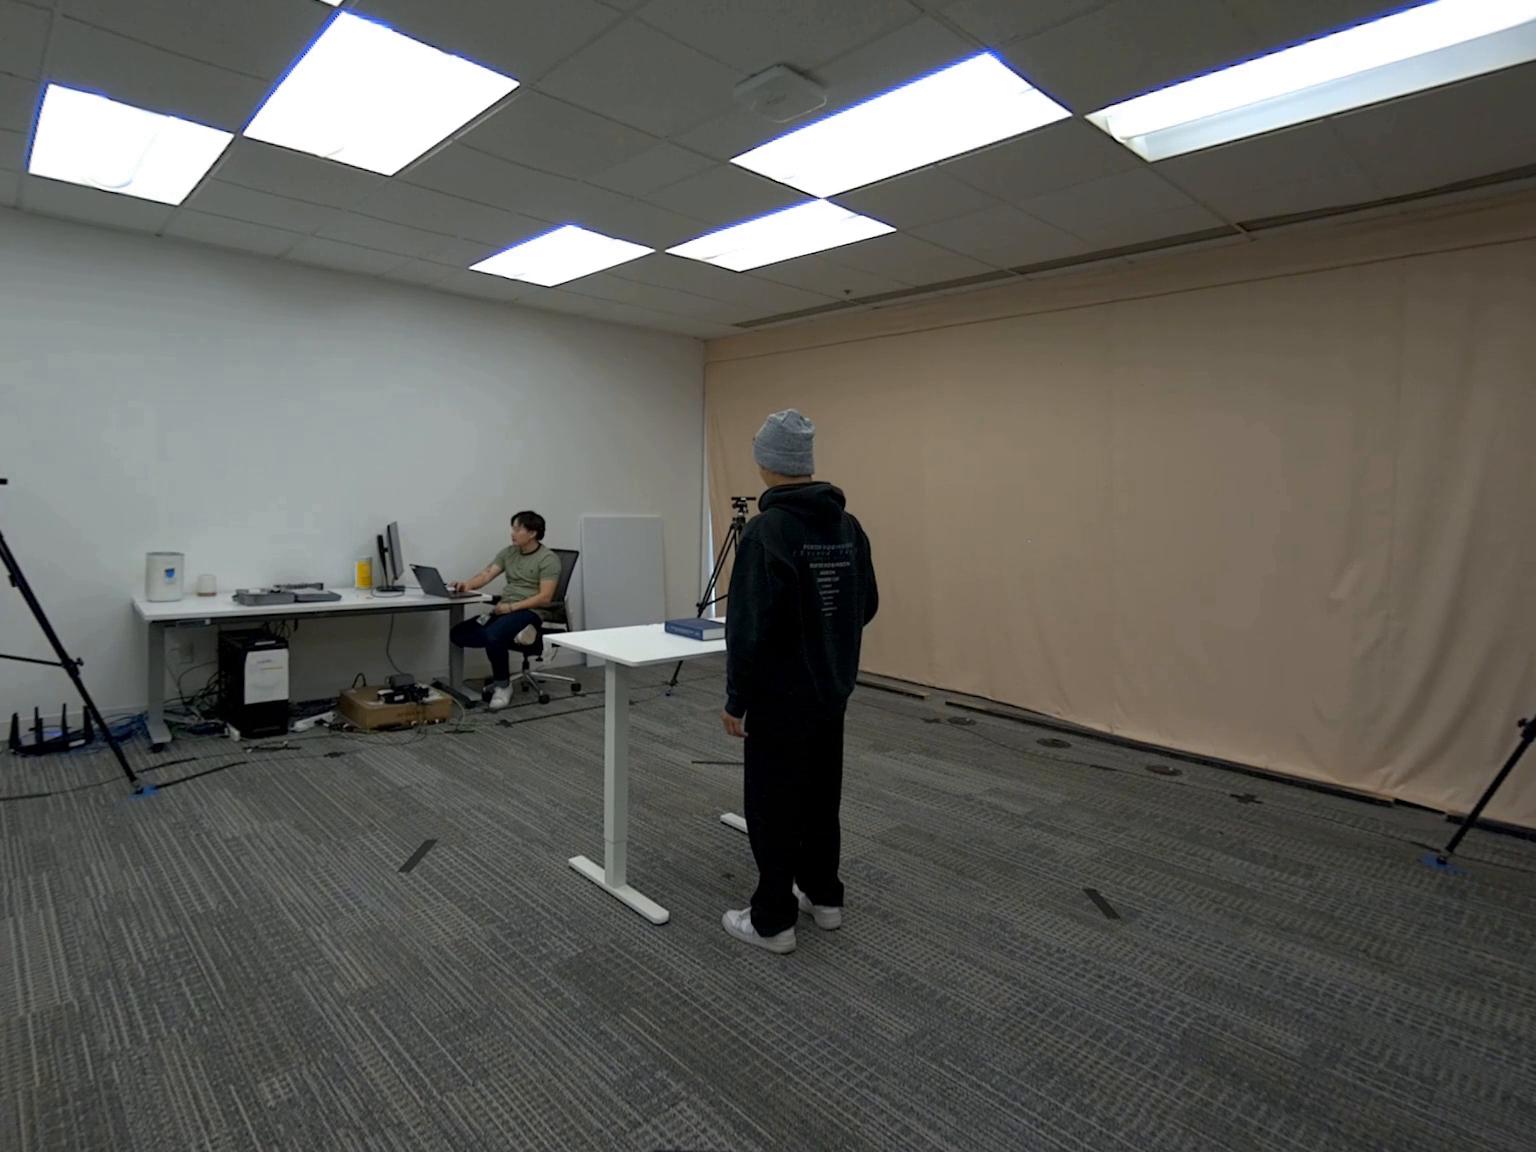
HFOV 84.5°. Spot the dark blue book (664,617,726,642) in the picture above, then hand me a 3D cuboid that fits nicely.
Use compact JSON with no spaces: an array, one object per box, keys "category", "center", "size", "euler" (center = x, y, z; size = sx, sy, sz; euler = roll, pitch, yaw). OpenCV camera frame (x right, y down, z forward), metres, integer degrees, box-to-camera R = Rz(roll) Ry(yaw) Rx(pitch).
[{"category":"dark blue book","center":[-0.268,0.201,3.144],"size":[0.160,0.045,0.251],"euler":[-4,7,-40]}]
